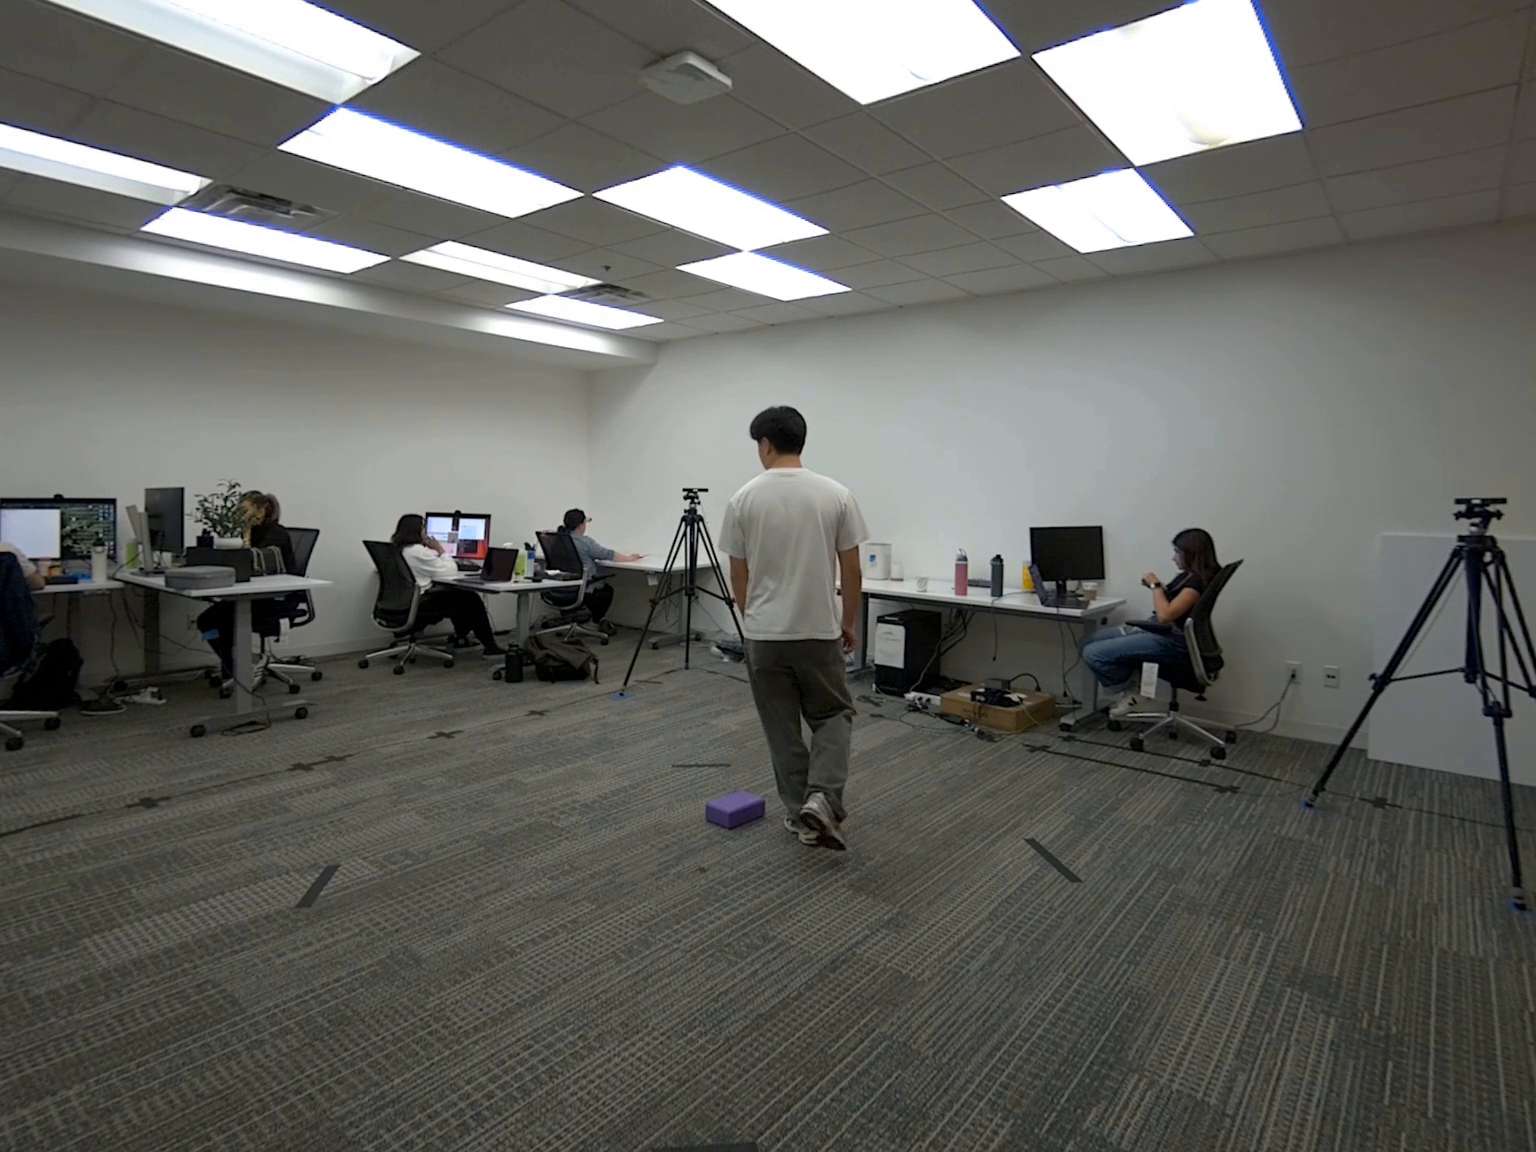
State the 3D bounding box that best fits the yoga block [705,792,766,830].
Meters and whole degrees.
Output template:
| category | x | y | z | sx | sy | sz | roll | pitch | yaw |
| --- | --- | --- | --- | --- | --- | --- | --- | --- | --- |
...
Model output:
| category | x | y | z | sx | sy | sz | roll | pitch | yaw |
| --- | --- | --- | --- | --- | --- | --- | --- | --- | --- |
| yoga block | -0.135 | 0.979 | 3.605 | 0.154 | 0.076 | 0.222 | 5 | 7 | 41 |
